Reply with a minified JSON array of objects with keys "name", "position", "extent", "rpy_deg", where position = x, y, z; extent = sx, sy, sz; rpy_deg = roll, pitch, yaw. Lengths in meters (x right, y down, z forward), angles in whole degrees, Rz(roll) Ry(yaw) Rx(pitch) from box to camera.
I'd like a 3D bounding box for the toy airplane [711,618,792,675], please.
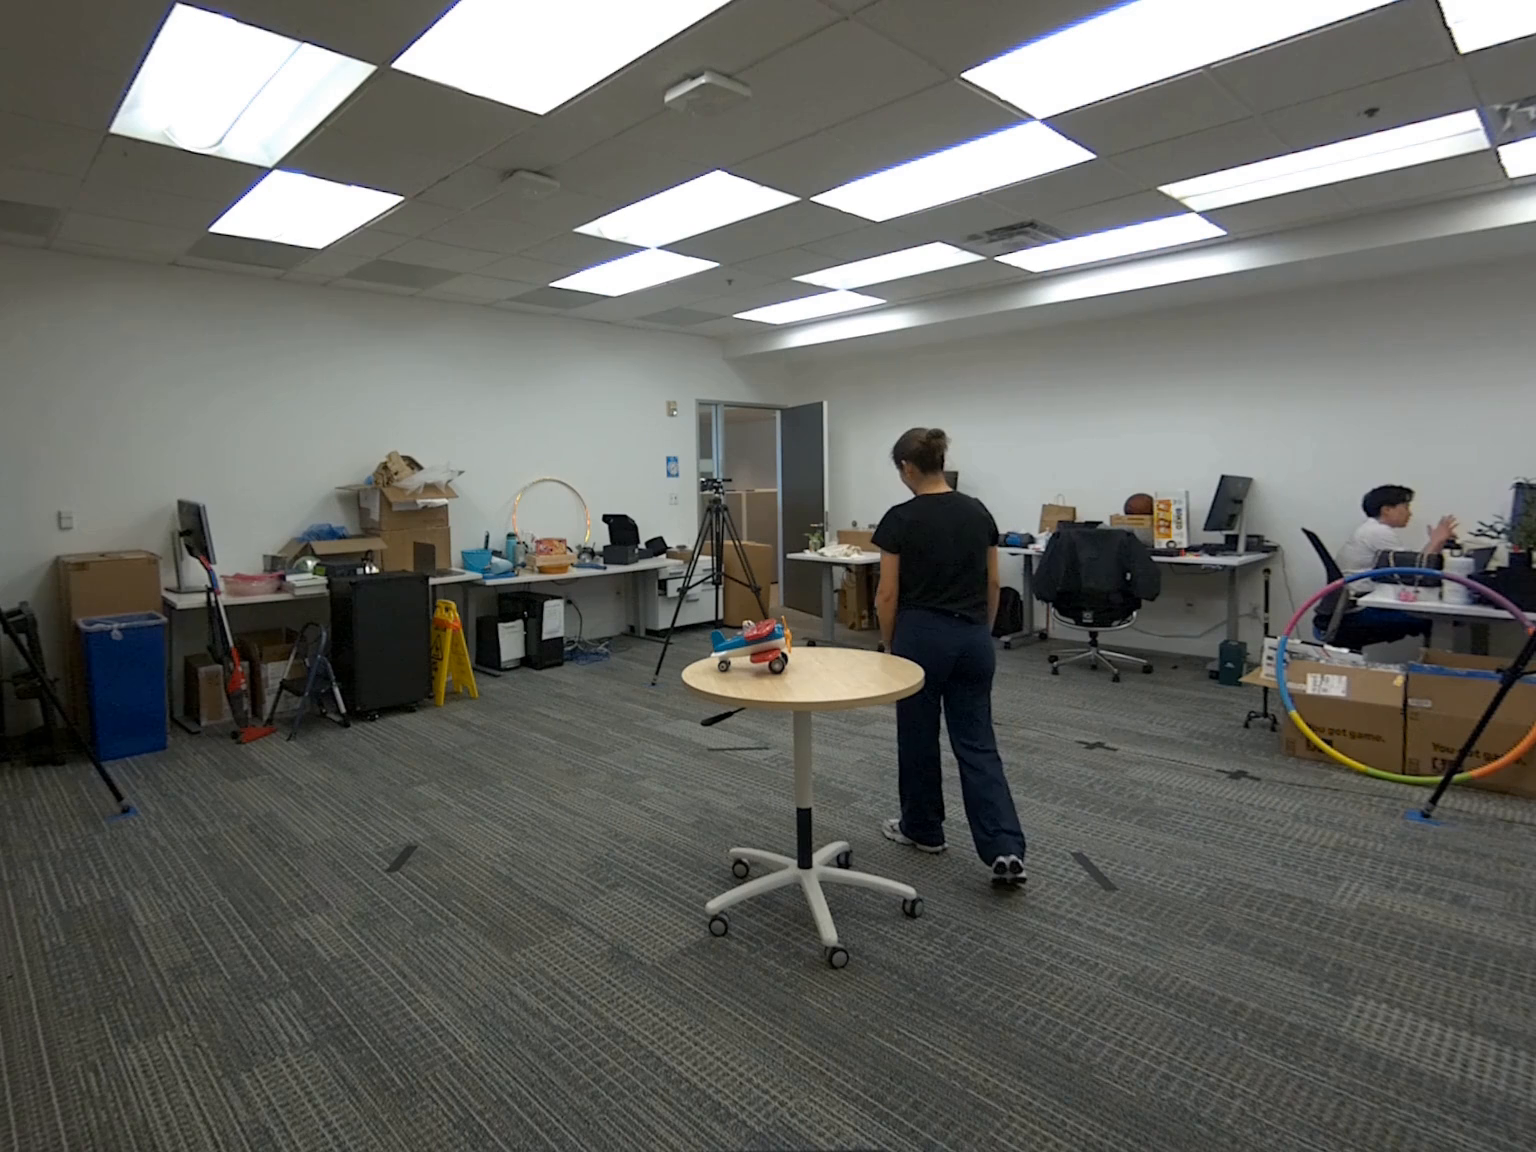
[{"name":"toy airplane","position":[-0.049,0.228,2.735],"extent":[0.254,0.156,0.257],"rpy_deg":[-3,4,-22]}]
